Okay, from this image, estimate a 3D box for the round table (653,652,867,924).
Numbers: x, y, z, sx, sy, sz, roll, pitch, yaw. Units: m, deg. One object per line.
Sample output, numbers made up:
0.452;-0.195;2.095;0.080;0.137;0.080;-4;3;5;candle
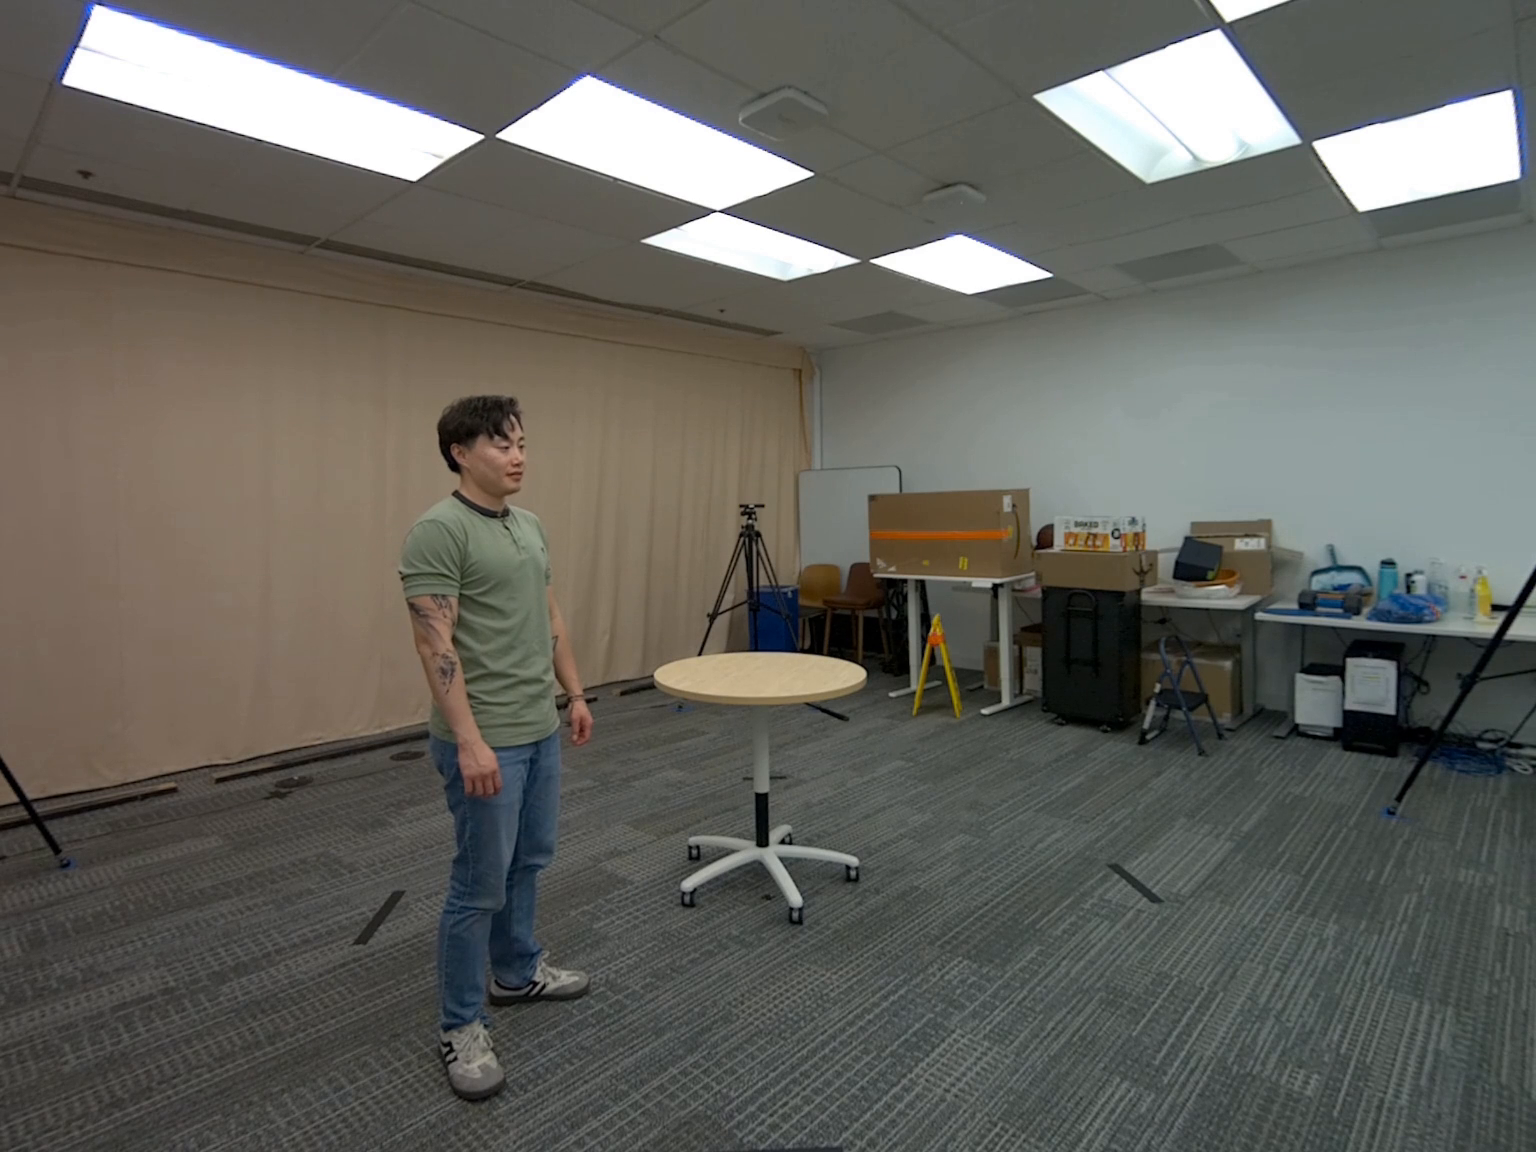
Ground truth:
-0.018;0.740;3.078;0.763;0.792;0.767;-1;4;-2;round table
